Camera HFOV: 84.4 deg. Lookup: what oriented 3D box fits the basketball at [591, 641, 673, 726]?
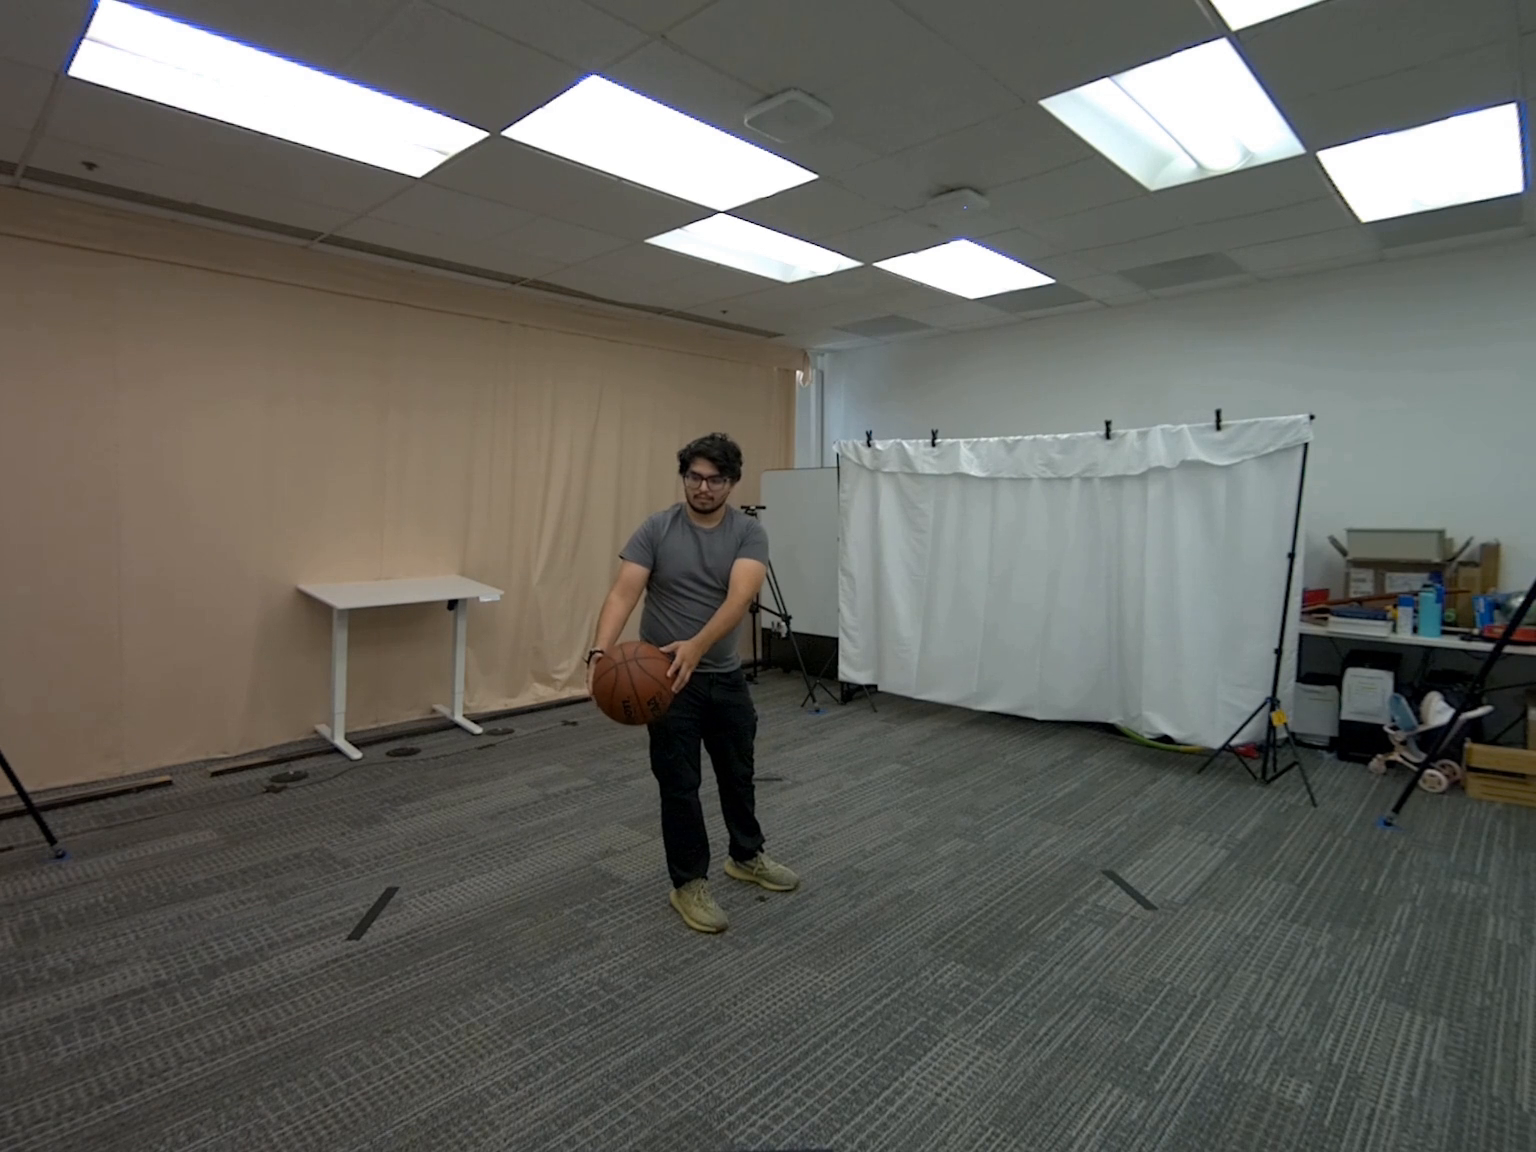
[{"bbox_3d":[-0.378,0.306,2.408,0.236,0.235,0.237,0,4,-2],"label":"basketball"}]
